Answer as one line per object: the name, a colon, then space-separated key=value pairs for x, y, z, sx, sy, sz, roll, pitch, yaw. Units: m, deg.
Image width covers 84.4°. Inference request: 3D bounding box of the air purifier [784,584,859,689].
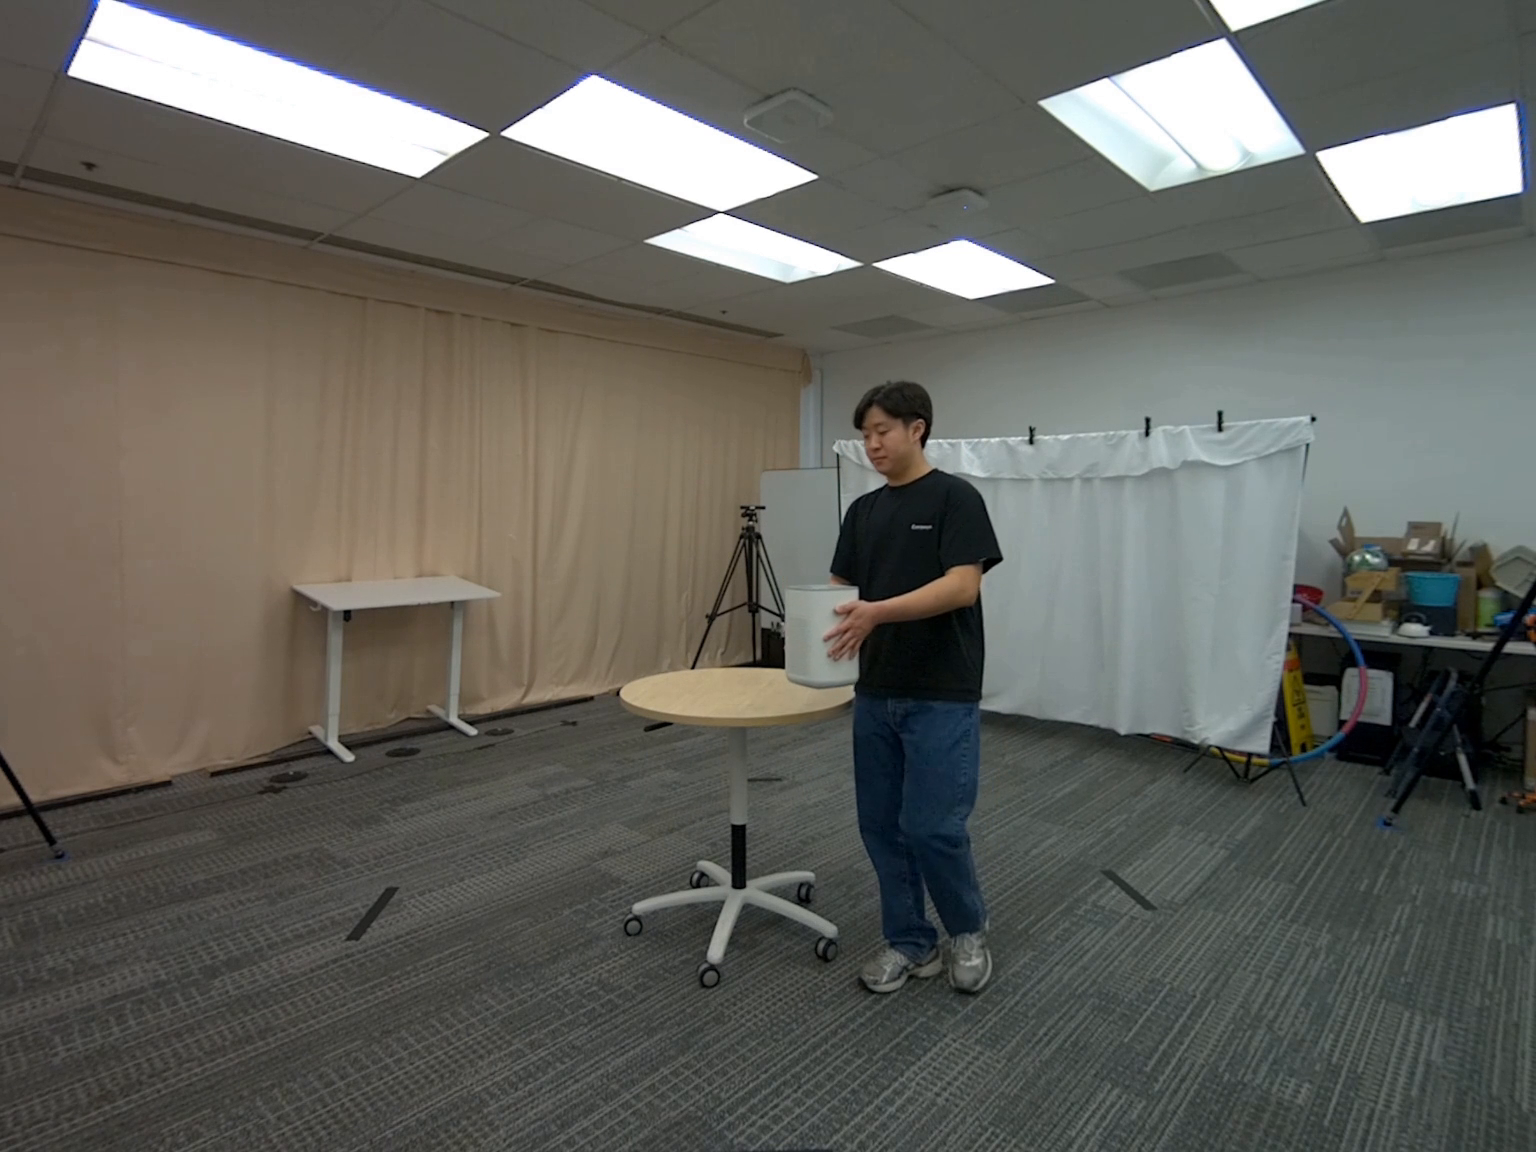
air purifier: x=0.149 y=0.164 z=2.293 sx=0.166 sy=0.265 sz=0.176 roll=0 pitch=1 yaw=-30
